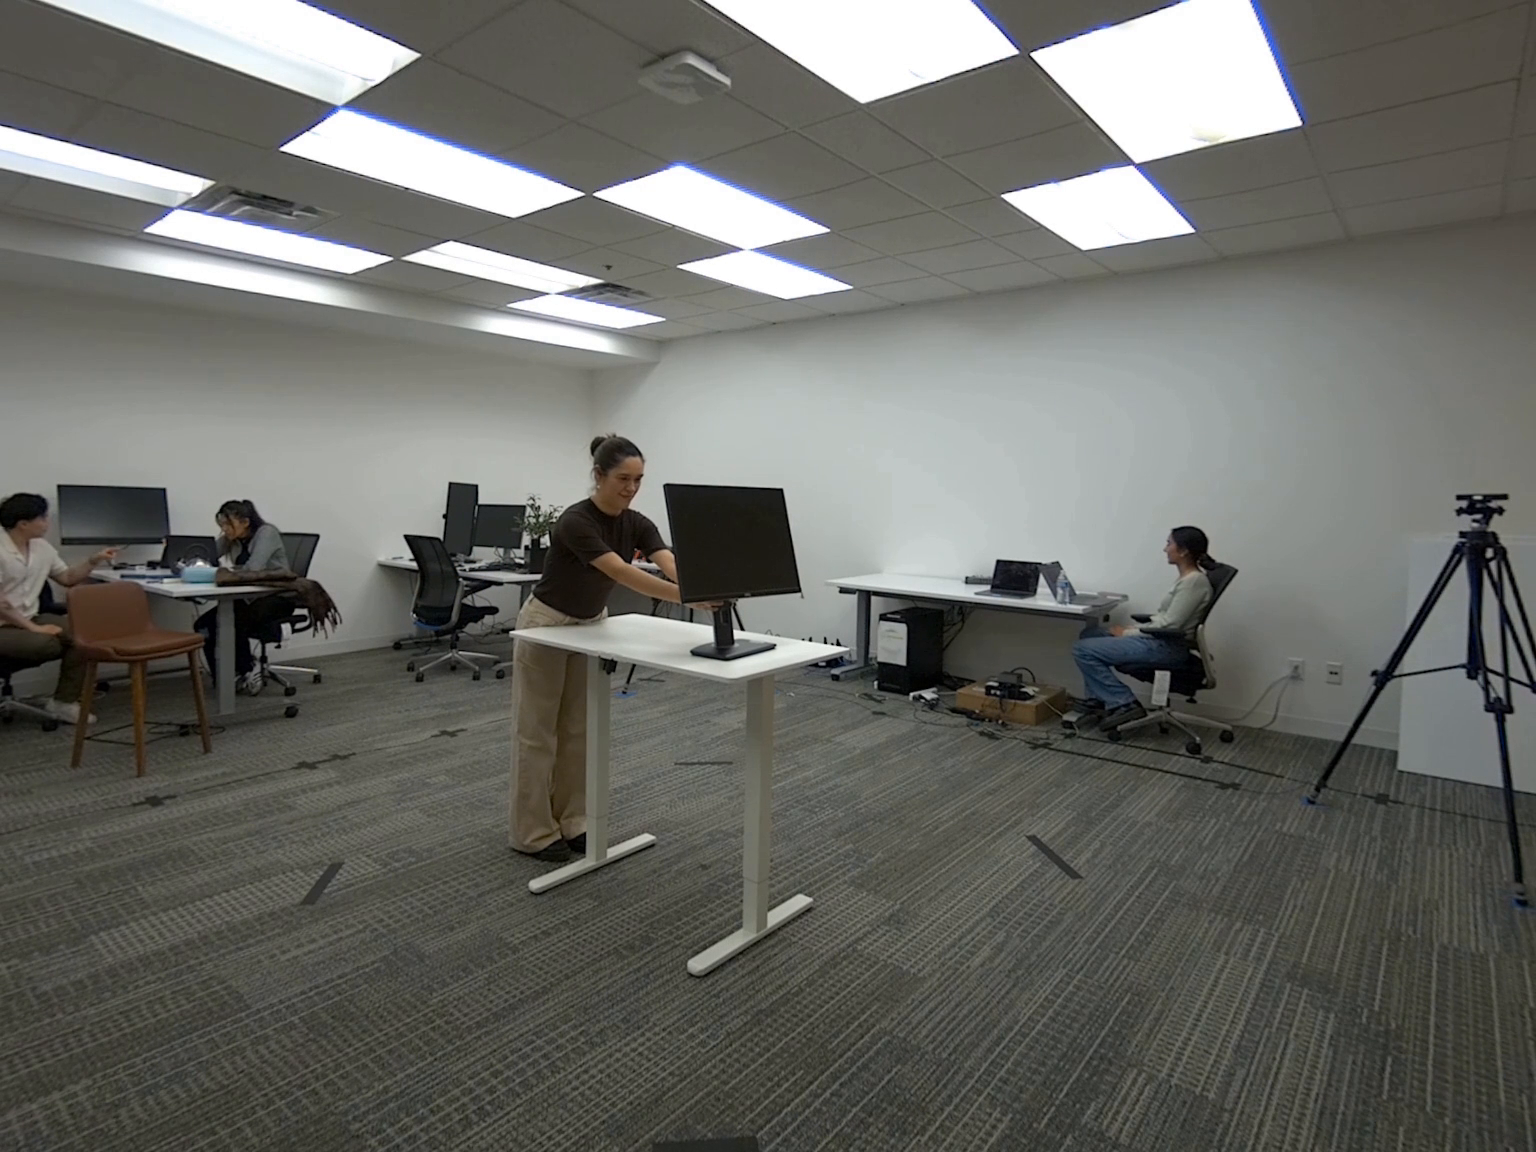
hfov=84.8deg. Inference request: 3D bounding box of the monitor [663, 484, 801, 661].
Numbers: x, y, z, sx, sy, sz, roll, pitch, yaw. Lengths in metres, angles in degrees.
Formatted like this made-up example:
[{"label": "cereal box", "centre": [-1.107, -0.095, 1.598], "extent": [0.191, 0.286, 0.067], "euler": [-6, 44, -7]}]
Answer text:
[{"label": "monitor", "centre": [-0.124, -0.019, 2.641], "extent": [0.193, 0.522, 0.523], "euler": [0, 2, 40]}]
